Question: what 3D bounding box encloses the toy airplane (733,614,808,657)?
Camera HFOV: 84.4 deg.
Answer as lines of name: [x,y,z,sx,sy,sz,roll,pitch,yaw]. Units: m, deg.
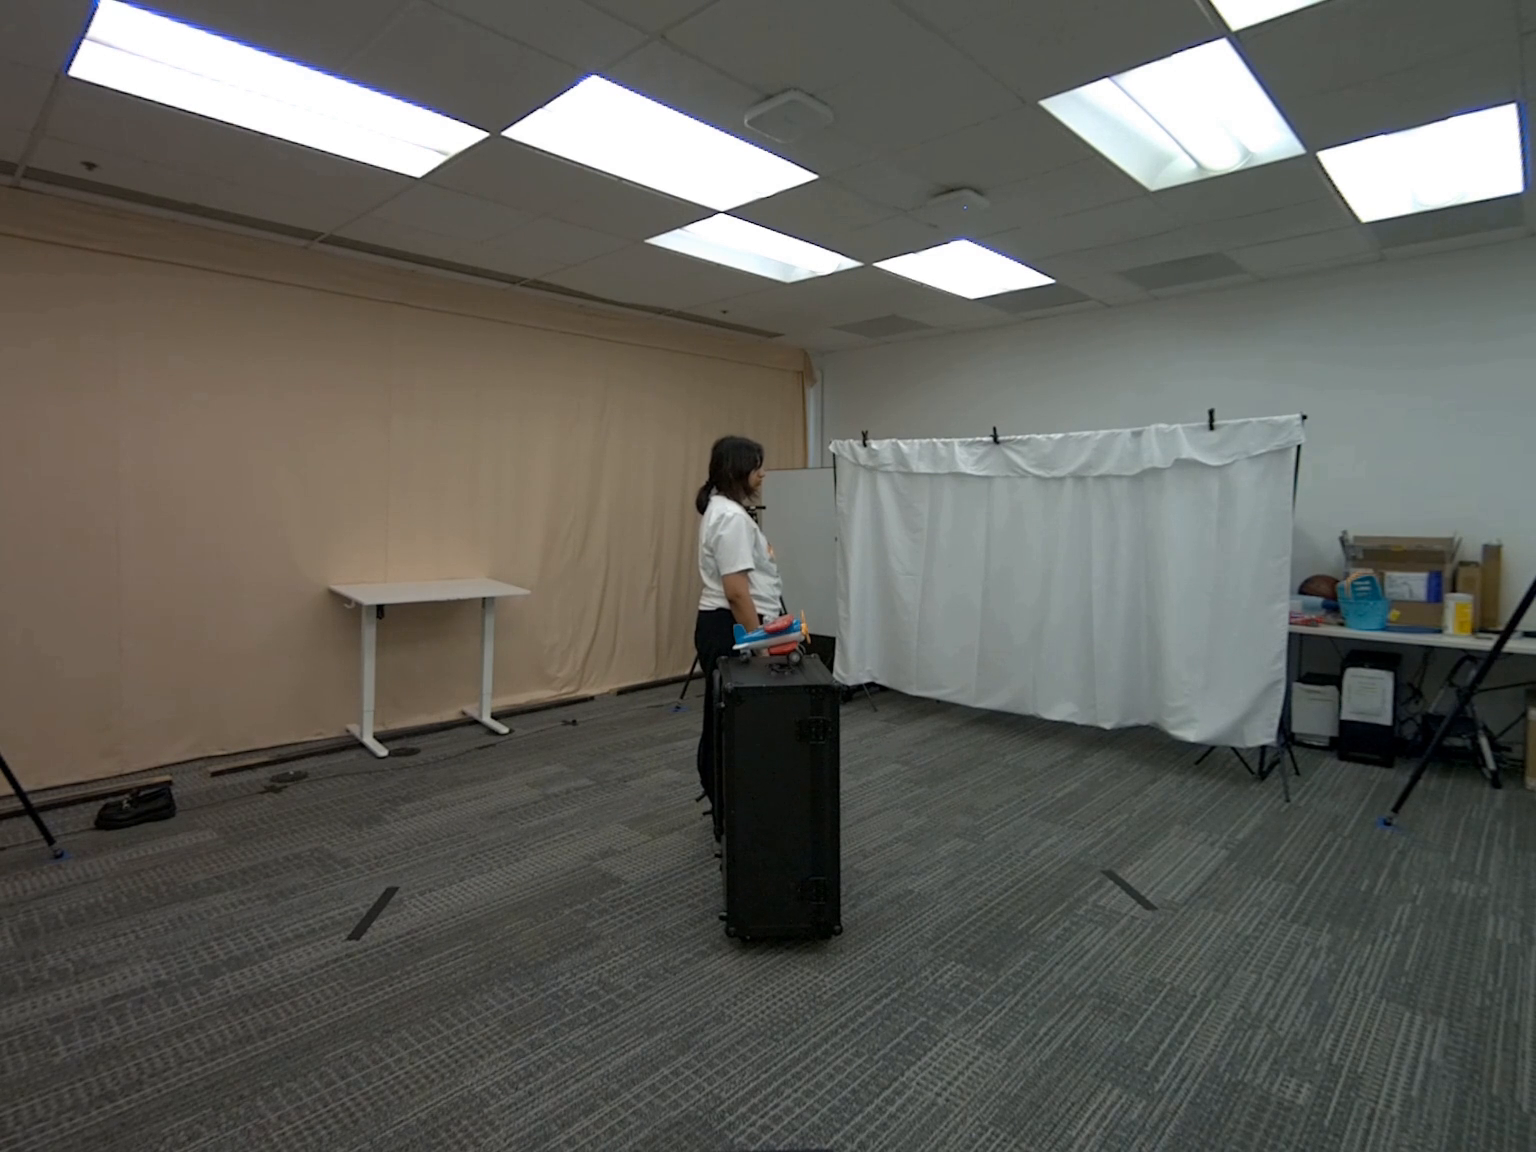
toy airplane: [0.013,0.222,2.903,0.255,0.156,0.256,-2,5,-17]
